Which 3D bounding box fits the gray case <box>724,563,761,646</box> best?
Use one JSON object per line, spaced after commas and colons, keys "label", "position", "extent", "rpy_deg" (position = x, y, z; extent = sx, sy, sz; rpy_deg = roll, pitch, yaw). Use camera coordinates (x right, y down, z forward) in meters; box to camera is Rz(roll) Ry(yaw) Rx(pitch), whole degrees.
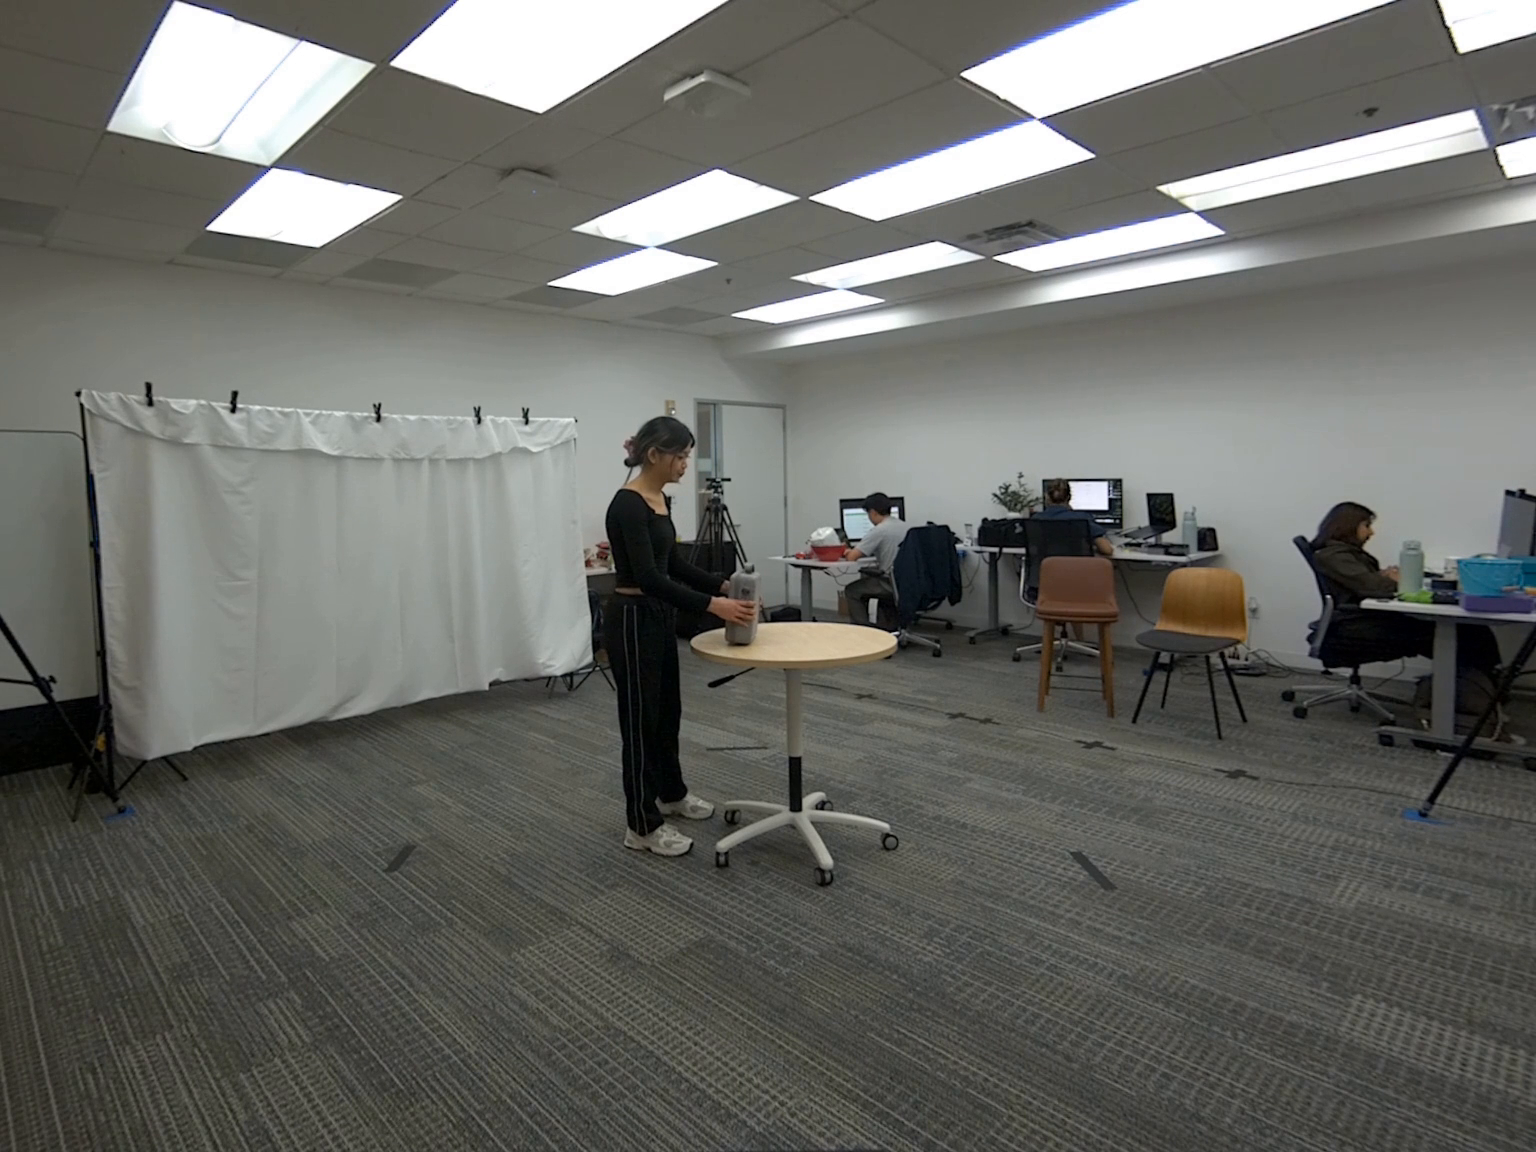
{"label": "gray case", "position": [-0.093, 0.109, 3.185], "extent": [0.105, 0.260, 0.256], "rpy_deg": [5, 3, 4]}
